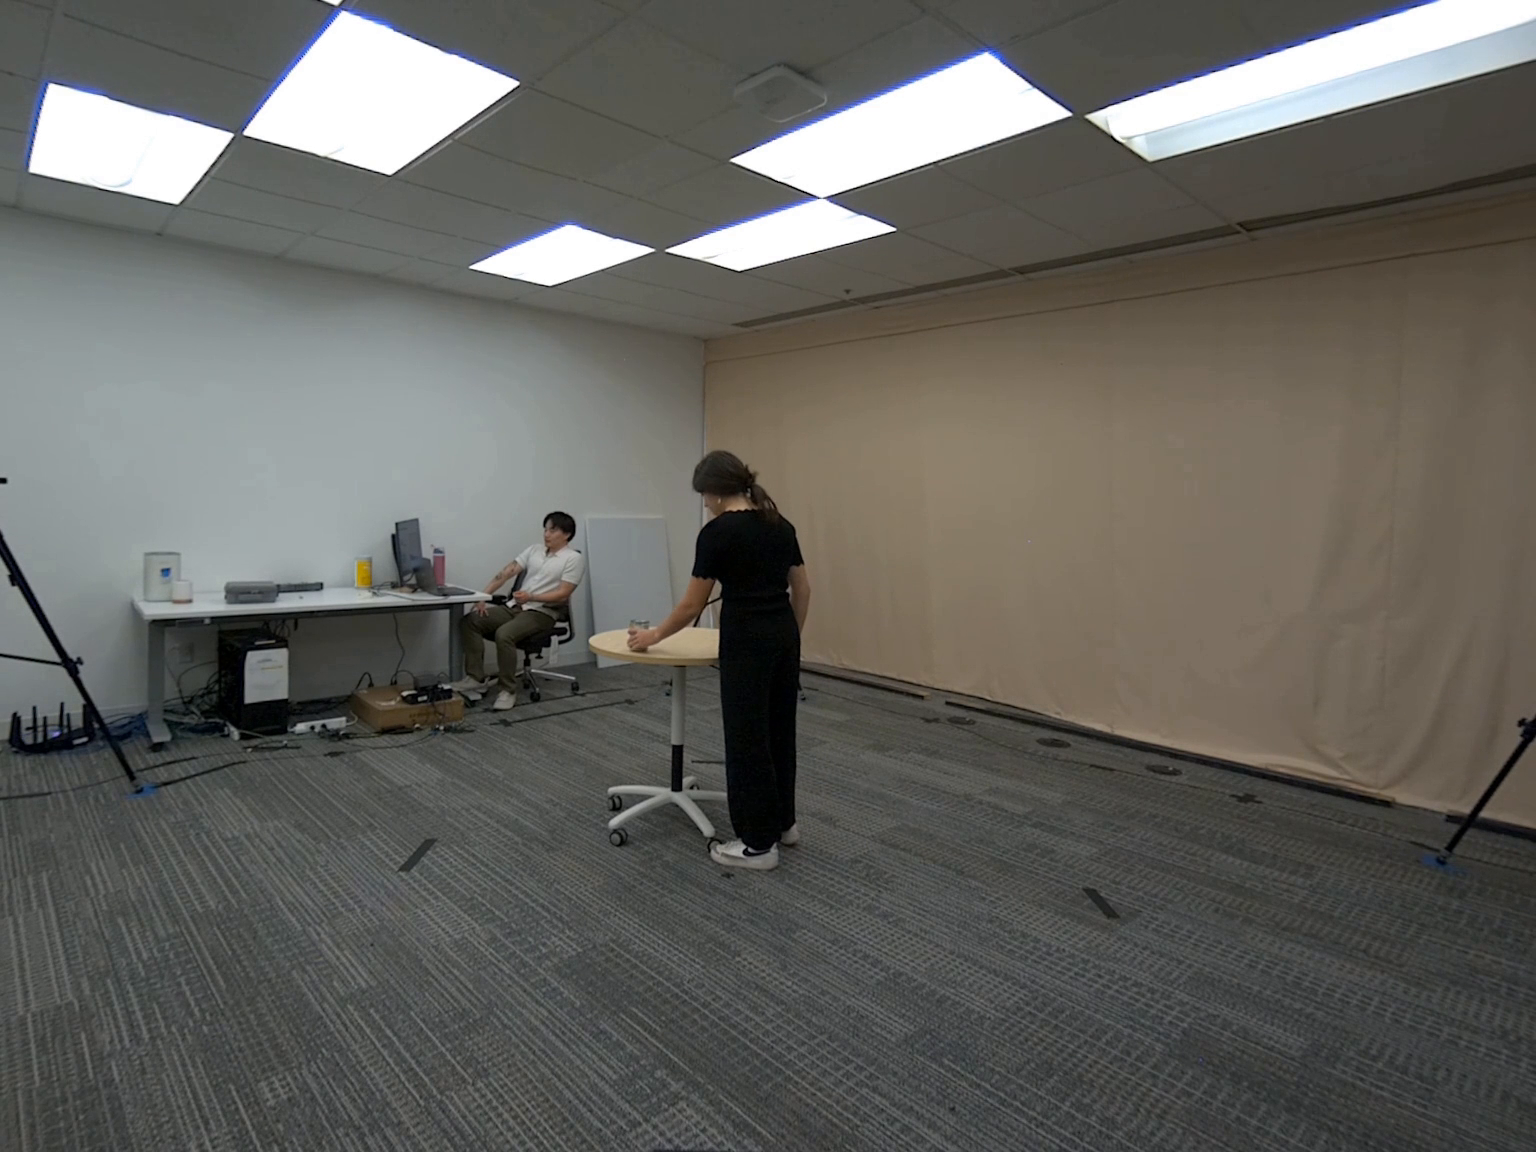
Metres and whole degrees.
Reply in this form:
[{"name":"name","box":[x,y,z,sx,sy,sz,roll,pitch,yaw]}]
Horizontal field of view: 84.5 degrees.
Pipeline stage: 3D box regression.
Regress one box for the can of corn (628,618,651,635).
[{"name":"can of corn","box":[-0.500,0.236,3.314,0.074,0.111,0.074,6,1,-2]}]
